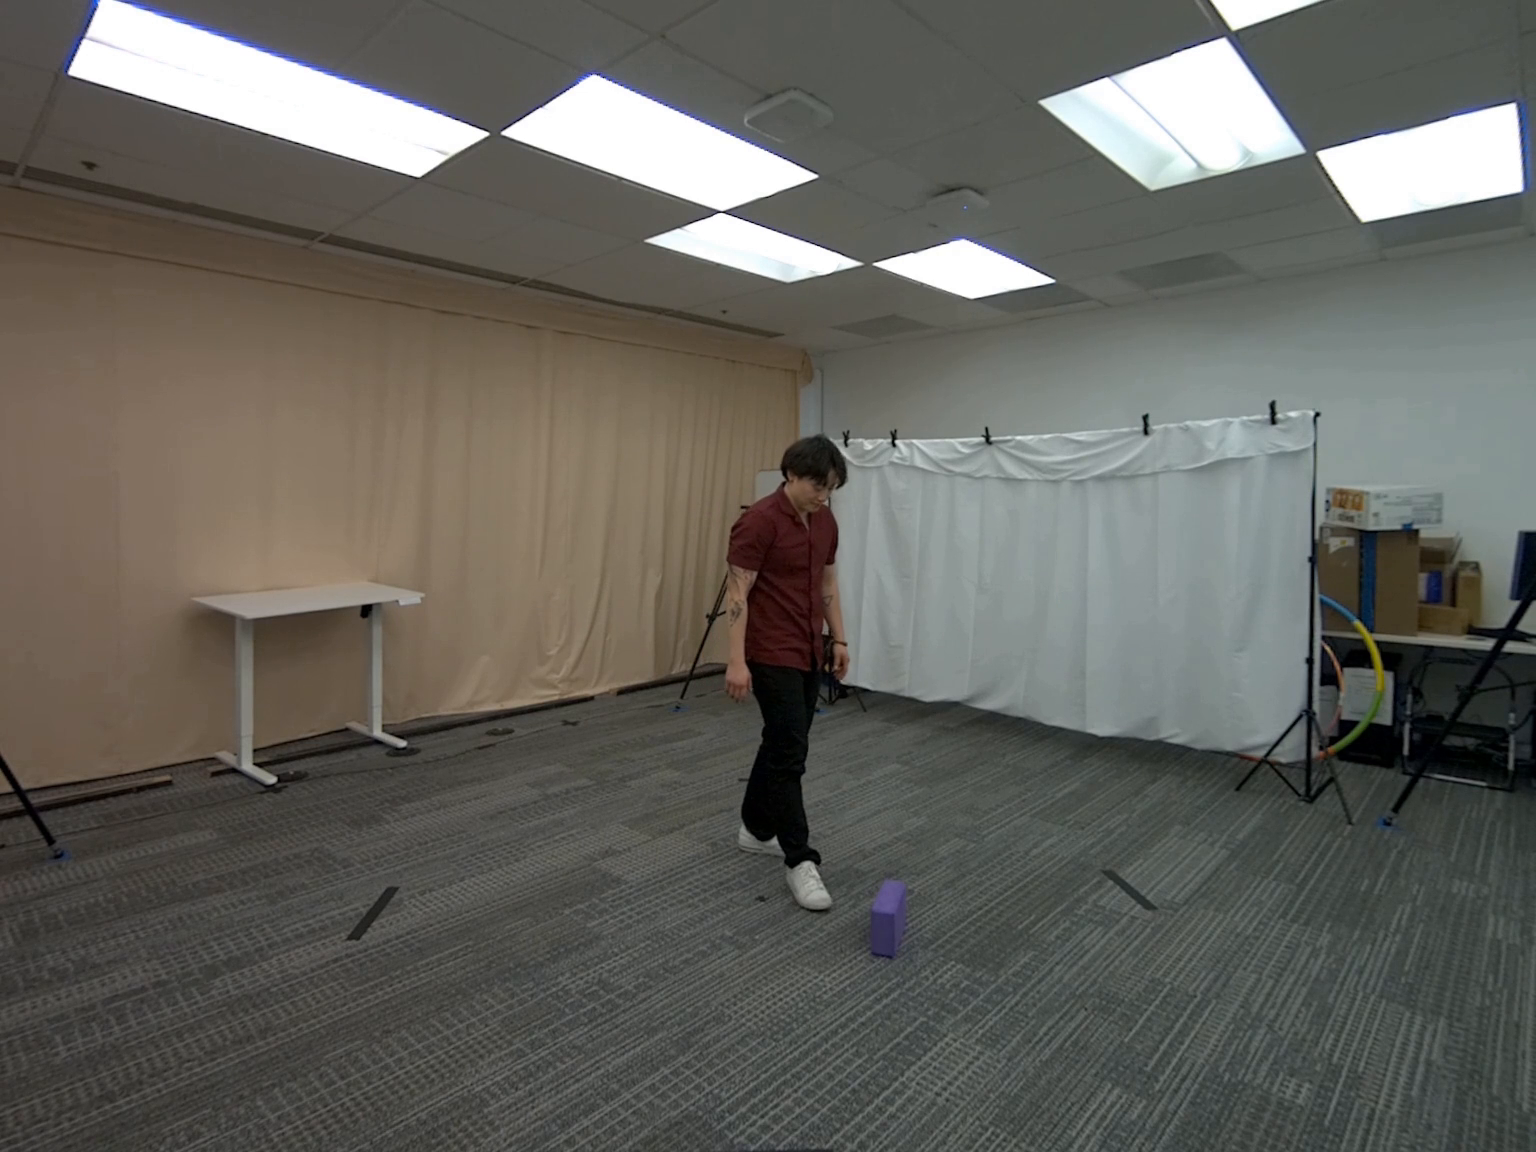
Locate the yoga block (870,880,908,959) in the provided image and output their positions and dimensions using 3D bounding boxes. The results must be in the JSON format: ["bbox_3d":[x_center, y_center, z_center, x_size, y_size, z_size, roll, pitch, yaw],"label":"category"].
[{"bbox_3d":[0.392,1.089,2.693,0.078,0.148,0.225,2,6,19],"label":"yoga block"}]
